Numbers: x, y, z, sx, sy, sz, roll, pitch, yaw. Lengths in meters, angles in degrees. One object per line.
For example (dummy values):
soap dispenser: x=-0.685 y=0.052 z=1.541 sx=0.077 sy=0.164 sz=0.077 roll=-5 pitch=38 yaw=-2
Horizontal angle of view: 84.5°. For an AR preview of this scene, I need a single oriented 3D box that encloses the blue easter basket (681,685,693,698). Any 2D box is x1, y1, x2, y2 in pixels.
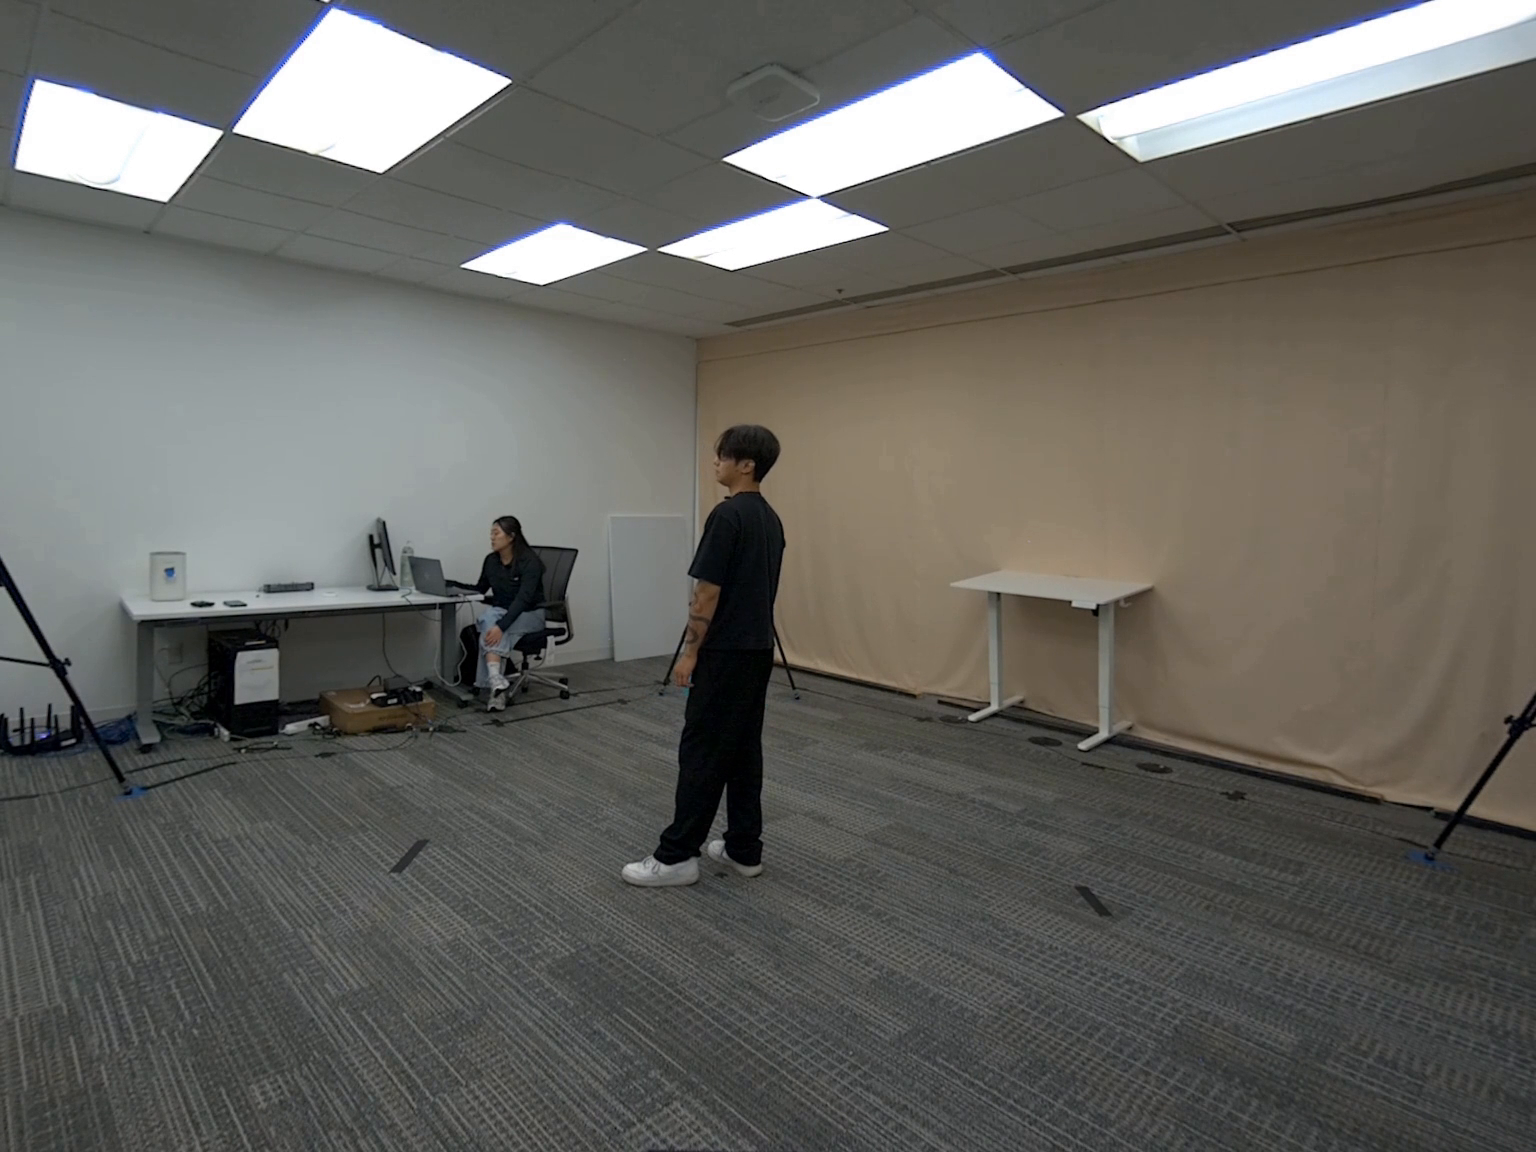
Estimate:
blue easter basket: x=-0.252 y=0.457 z=3.505 sx=0.243 sy=0.156 sz=0.243 roll=-16 pitch=0 yaw=-2
